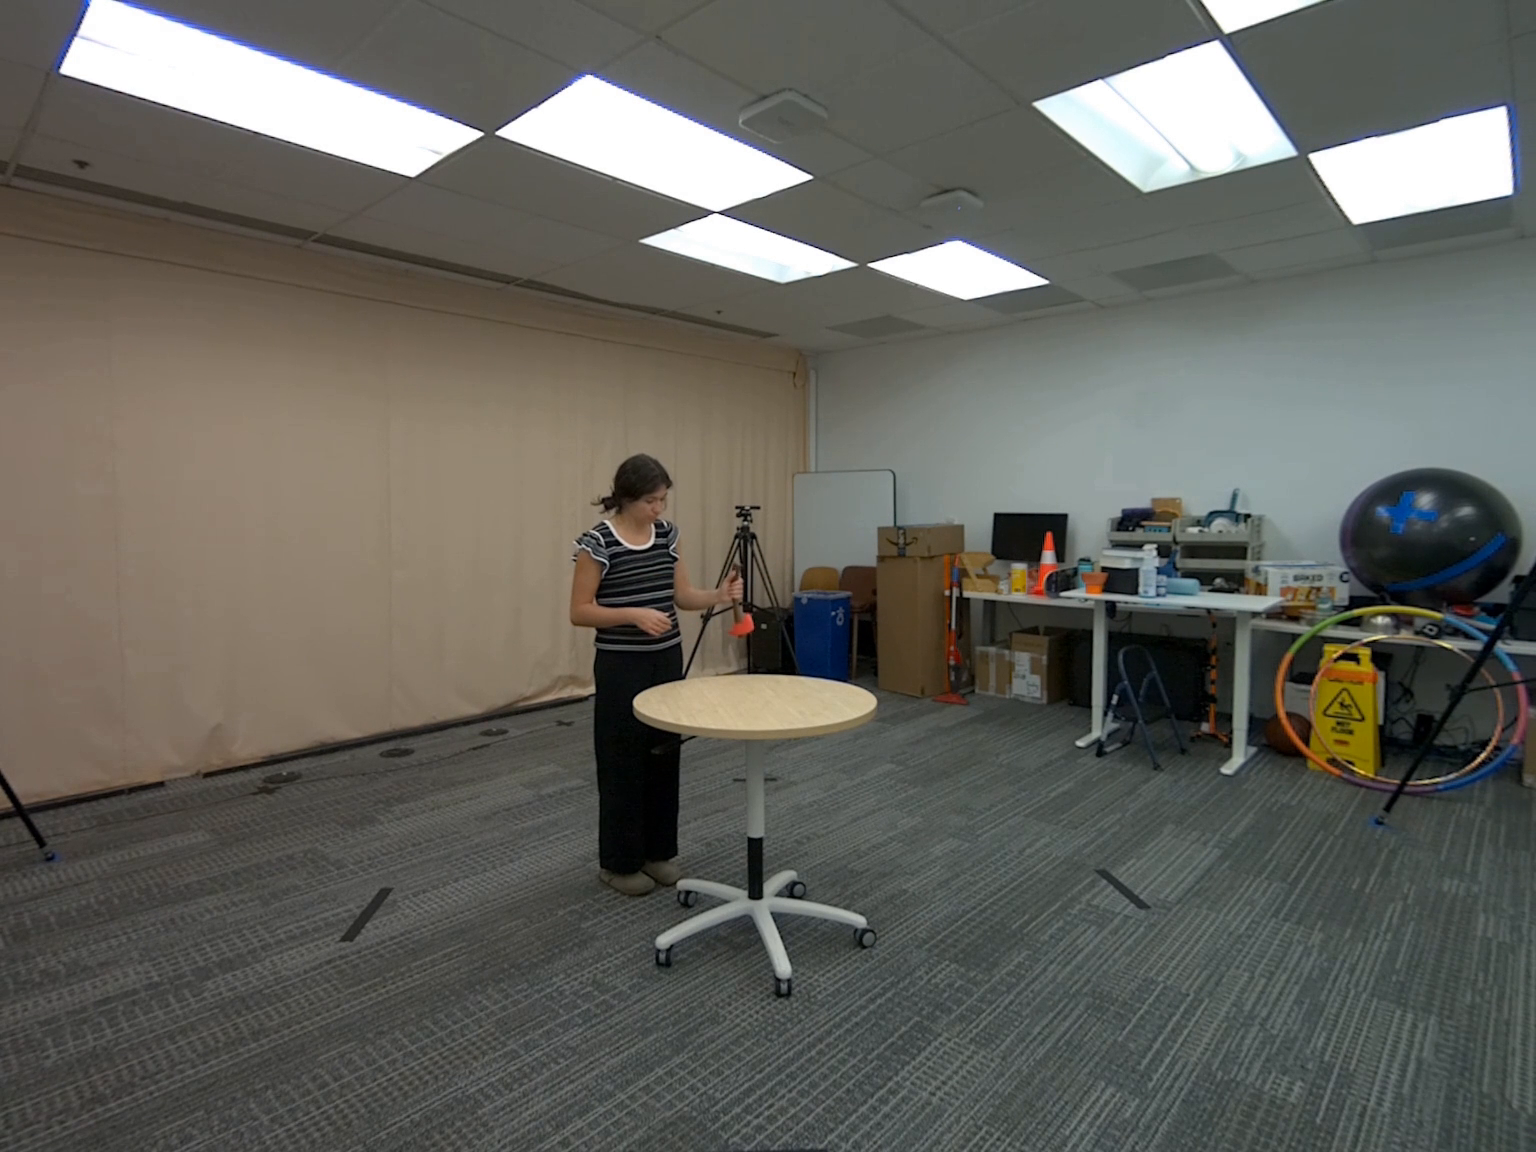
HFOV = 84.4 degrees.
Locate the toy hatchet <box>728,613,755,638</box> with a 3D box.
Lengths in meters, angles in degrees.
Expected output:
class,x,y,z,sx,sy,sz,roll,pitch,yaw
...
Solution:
class,x,y,z,sx,sy,sz,roll,pitch,yaw
toy hatchet,-0.098,0.095,3.028,0.029,0.269,0.136,-4,13,-44
